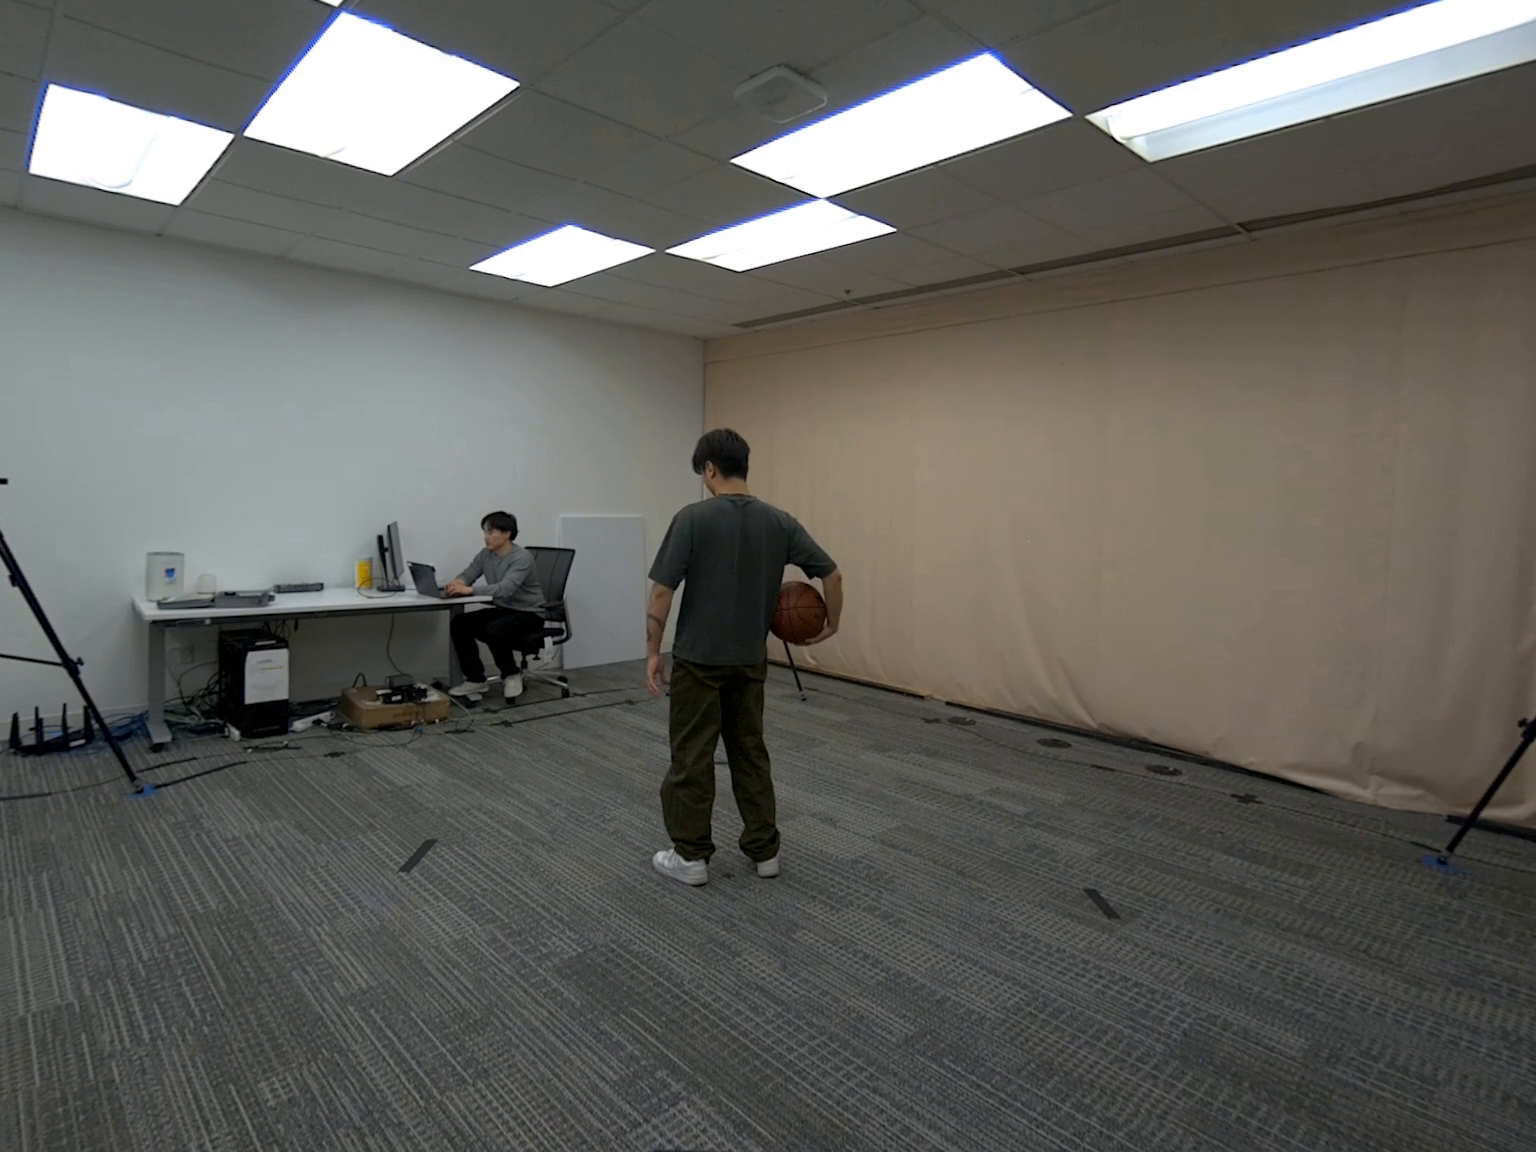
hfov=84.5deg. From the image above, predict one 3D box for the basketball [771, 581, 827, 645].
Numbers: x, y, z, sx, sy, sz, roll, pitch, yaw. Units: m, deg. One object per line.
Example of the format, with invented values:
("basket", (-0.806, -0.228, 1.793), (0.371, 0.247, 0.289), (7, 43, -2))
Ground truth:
("basketball", (0.079, 0.134, 3.224), (0.236, 0.235, 0.237), (1, 4, -1))
